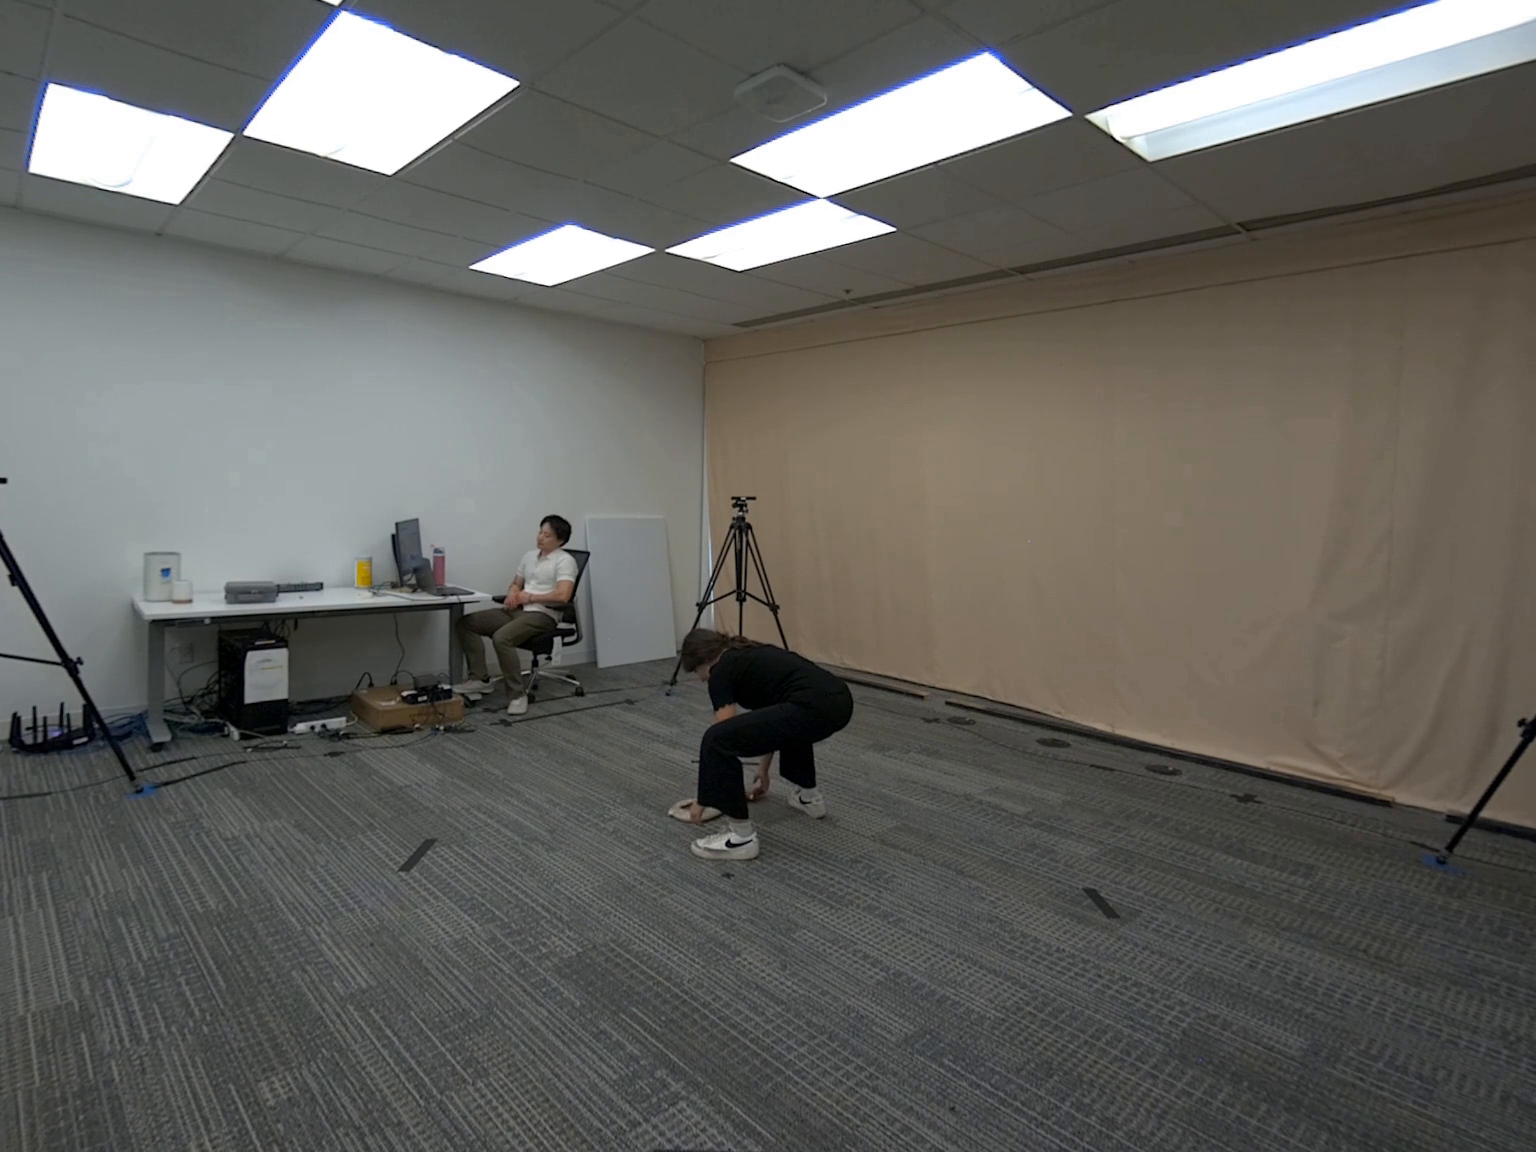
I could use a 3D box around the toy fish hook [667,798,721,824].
[{"bbox_3d":[-0.247,1.021,3.810,0.230,0.048,0.495,9,9,42],"label":"toy fish hook"}]
